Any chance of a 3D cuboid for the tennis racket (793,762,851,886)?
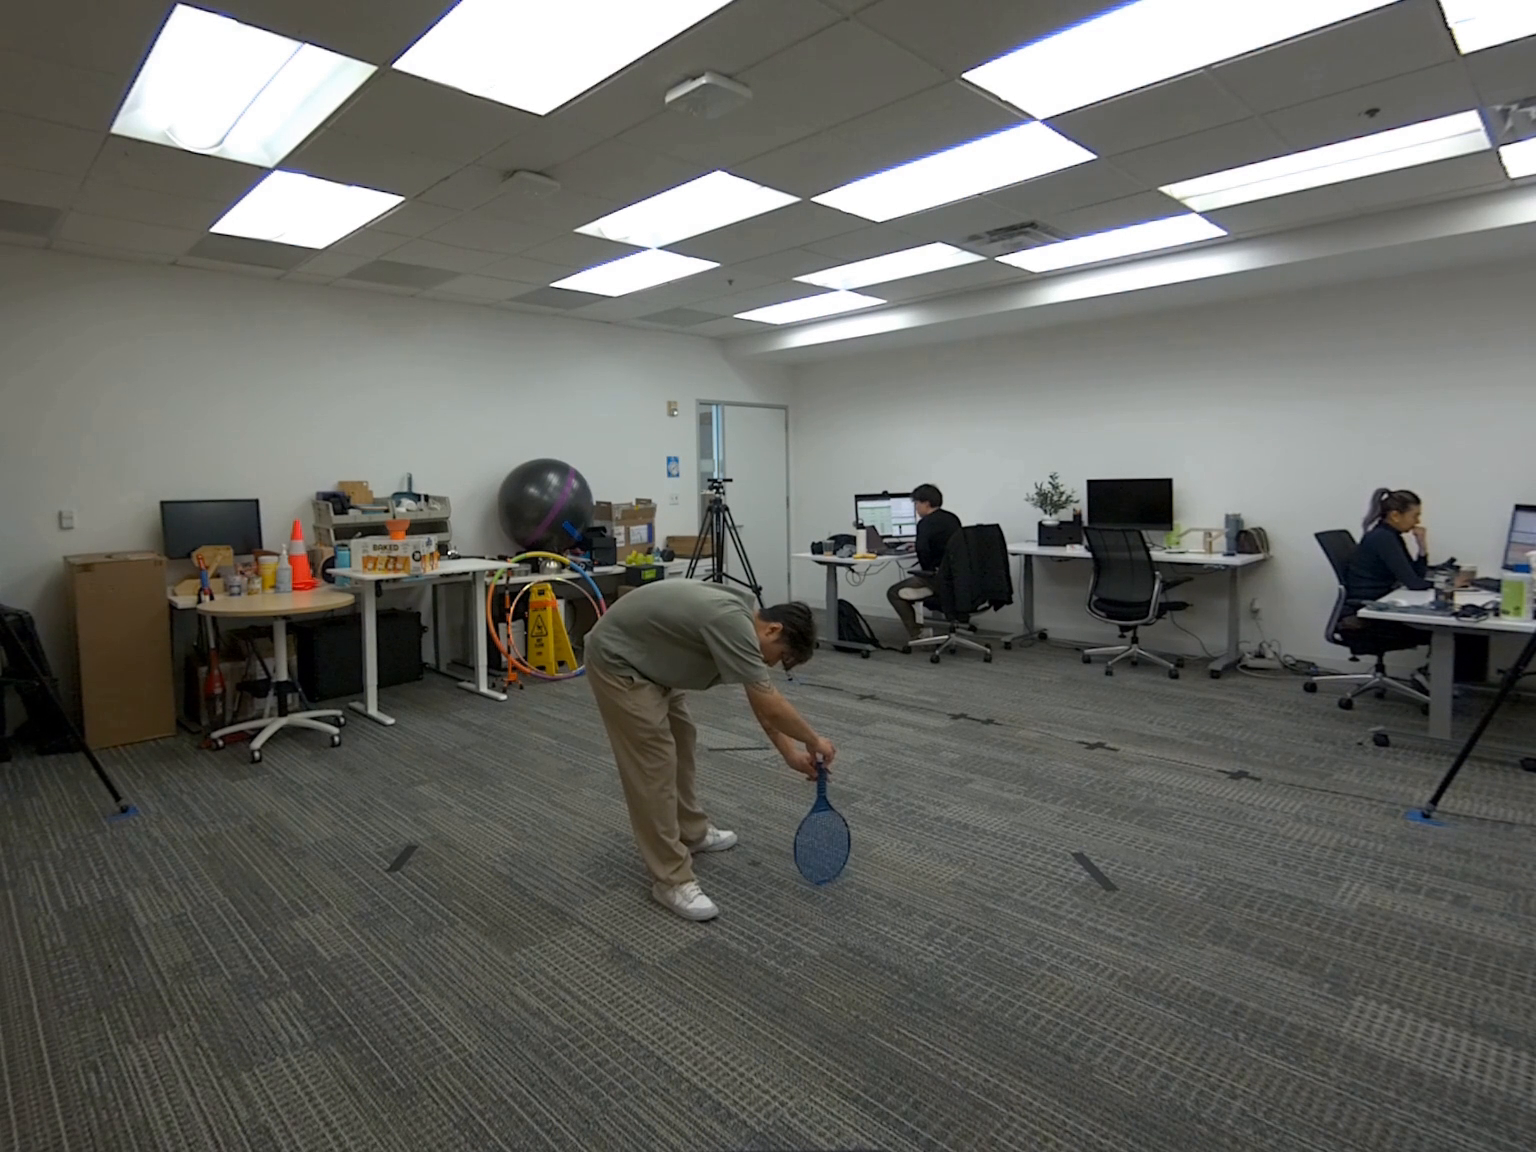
[{"bbox_3d":[0.186,0.846,2.925,0.210,0.431,0.032,-5,5,-17],"label":"tennis racket"}]
